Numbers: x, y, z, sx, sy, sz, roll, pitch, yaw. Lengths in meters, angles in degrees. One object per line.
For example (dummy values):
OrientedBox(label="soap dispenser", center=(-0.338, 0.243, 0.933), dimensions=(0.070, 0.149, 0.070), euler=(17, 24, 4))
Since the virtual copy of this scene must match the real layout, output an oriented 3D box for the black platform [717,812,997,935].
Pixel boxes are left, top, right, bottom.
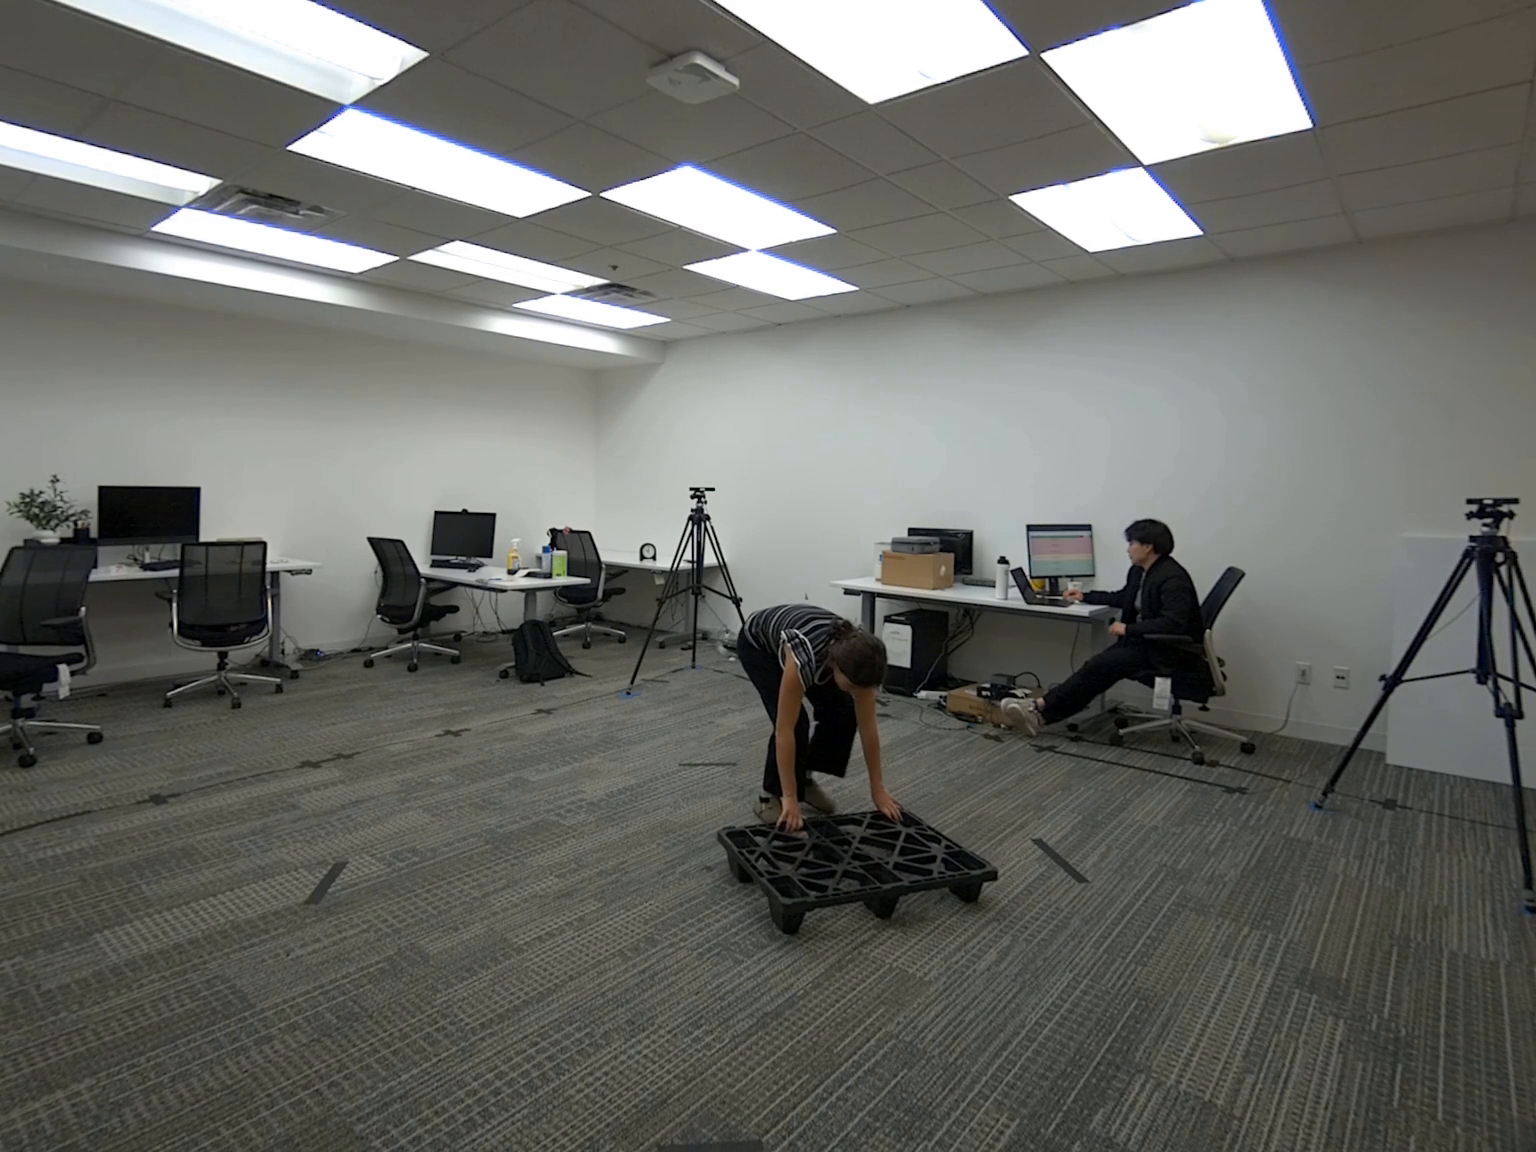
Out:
OrientedBox(label="black platform", center=(0.286, 1.021, 2.993), dimensions=(0.789, 0.142, 0.621), euler=(-1, 7, -21))
